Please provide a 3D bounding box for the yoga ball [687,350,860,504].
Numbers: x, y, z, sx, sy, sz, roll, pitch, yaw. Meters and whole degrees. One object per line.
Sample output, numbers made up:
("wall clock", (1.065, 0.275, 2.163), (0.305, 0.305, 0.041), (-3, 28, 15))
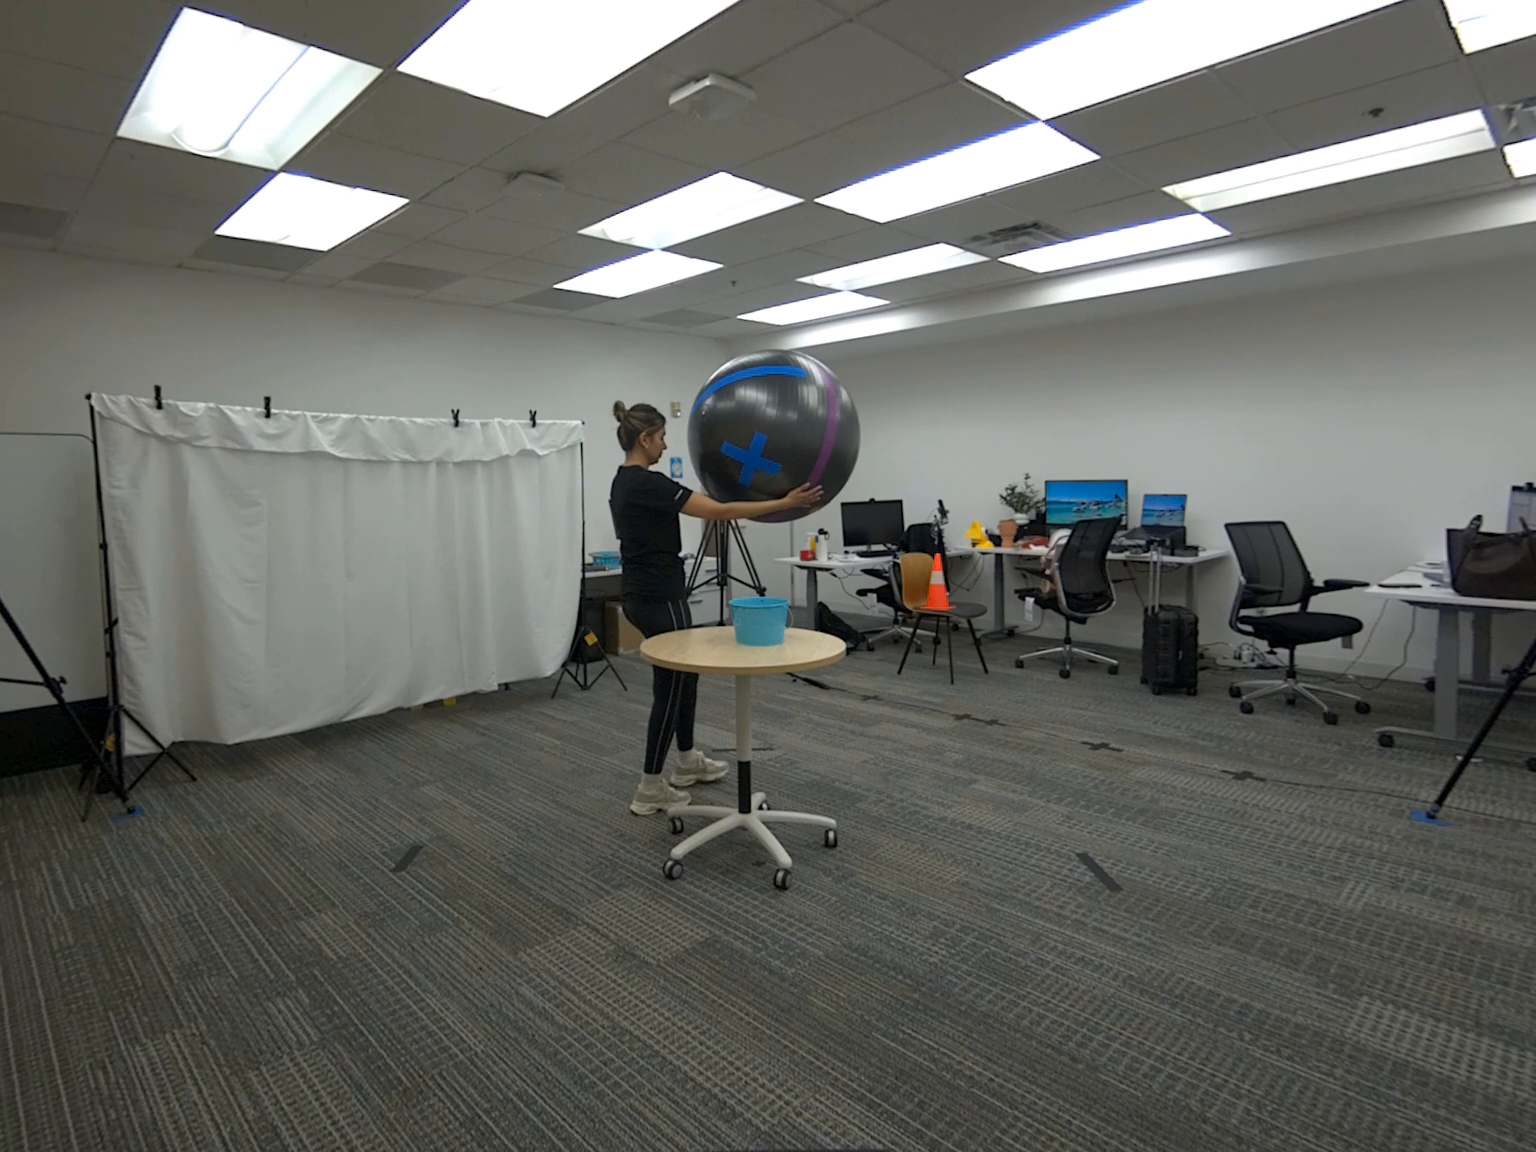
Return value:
("yoga ball", (0.023, -0.606, 3.755), (0.757, 0.755, 0.762), (-1, 5, -2))
